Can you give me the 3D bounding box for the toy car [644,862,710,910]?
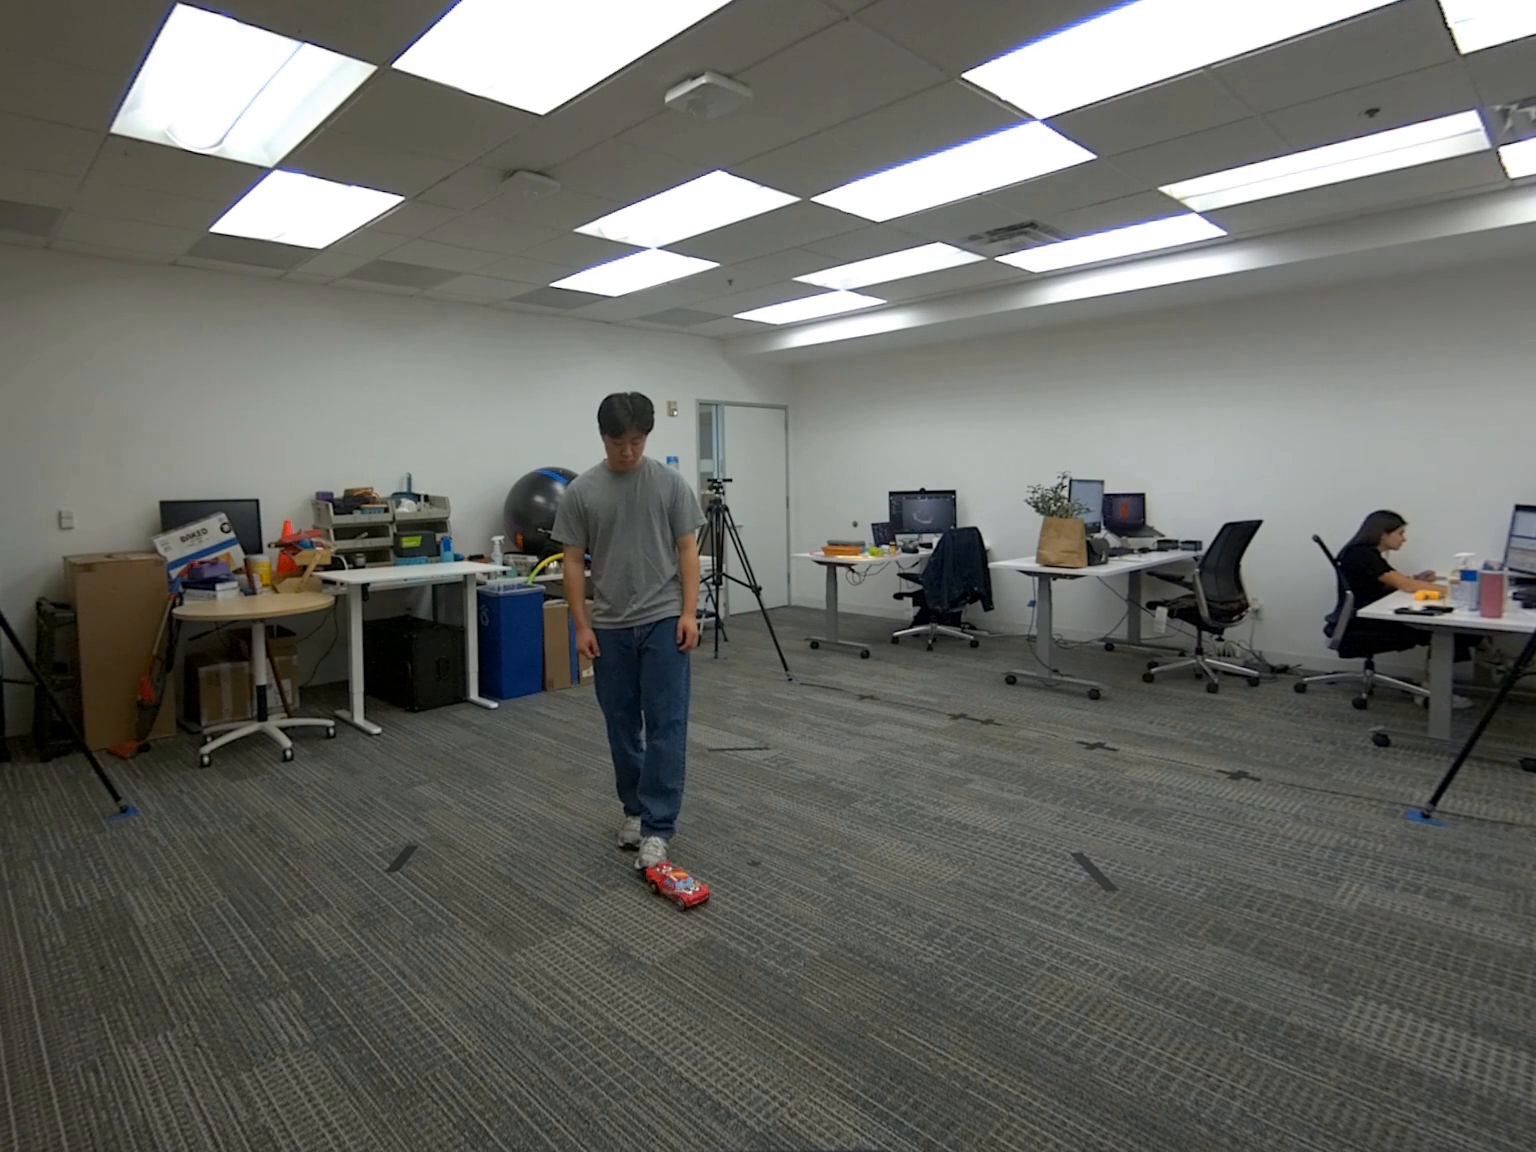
[{"bbox_3d":[-0.302,1.044,2.877,0.127,0.082,0.264,-6,19,-41],"label":"toy car"}]
